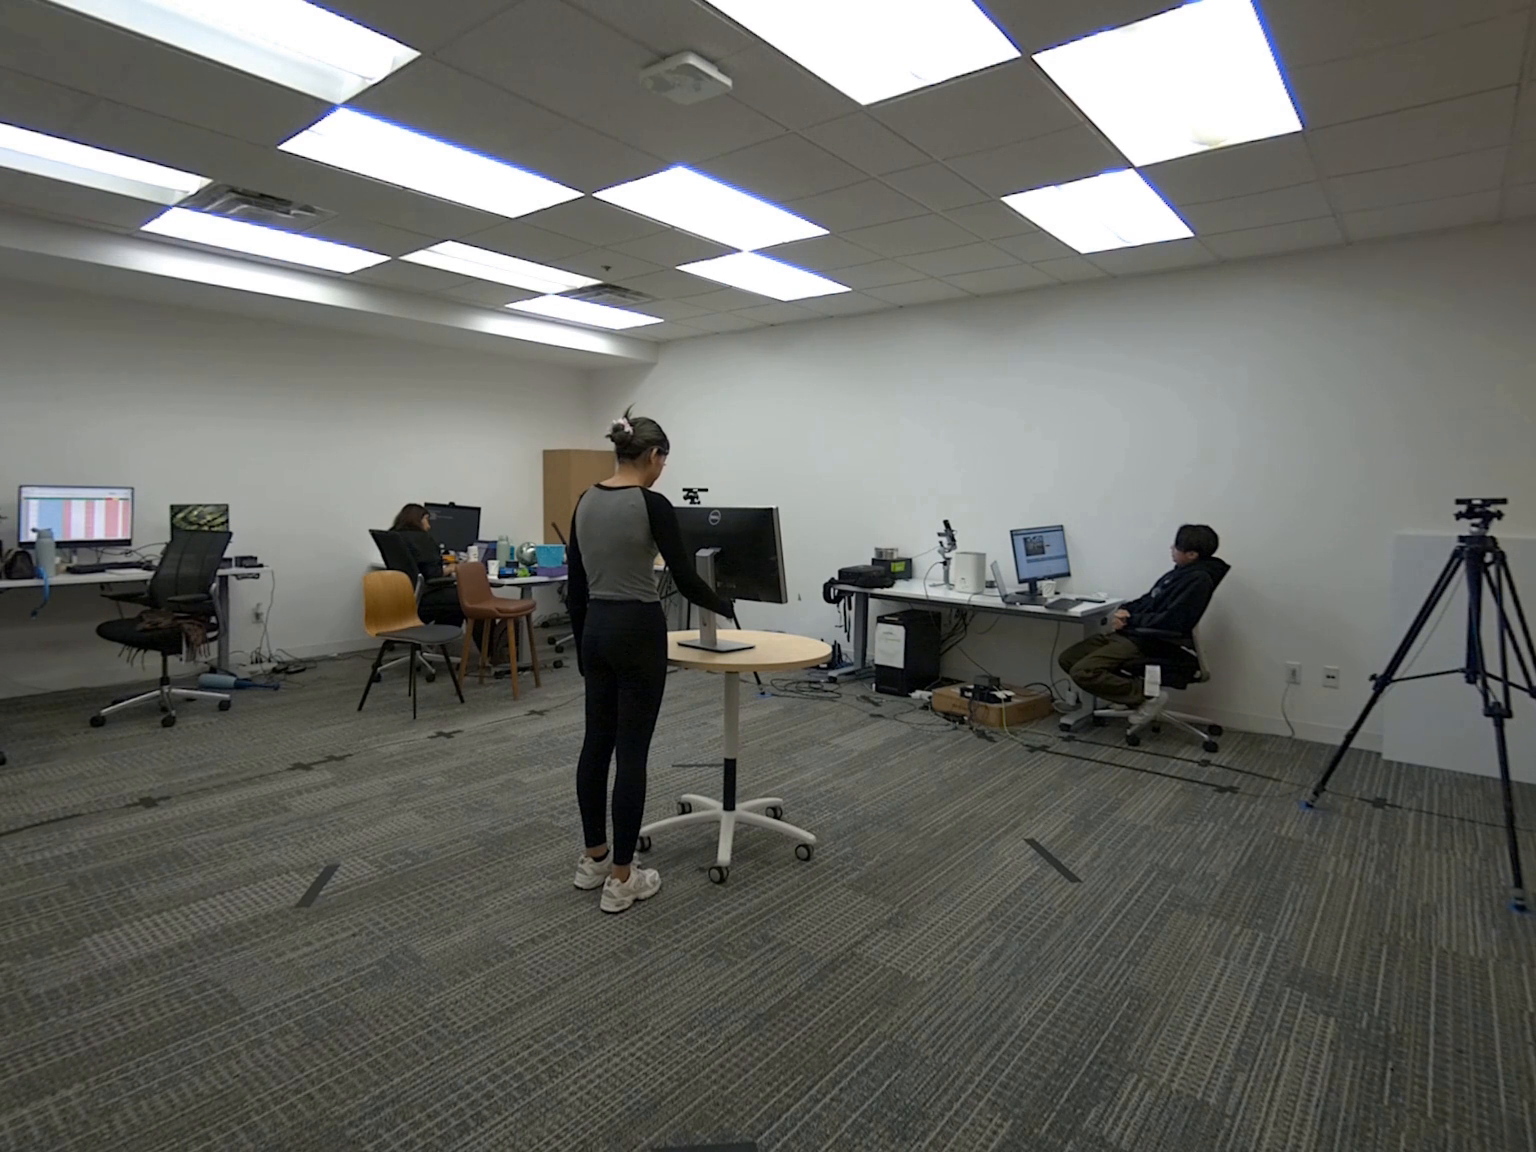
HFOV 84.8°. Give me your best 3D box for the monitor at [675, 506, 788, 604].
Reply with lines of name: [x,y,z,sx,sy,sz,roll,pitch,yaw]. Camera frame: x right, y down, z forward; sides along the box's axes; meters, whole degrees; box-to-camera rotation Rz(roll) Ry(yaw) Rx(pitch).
monitor: [-0.204,0.002,3.249,0.557,0.522,0.181,4,2,40]
